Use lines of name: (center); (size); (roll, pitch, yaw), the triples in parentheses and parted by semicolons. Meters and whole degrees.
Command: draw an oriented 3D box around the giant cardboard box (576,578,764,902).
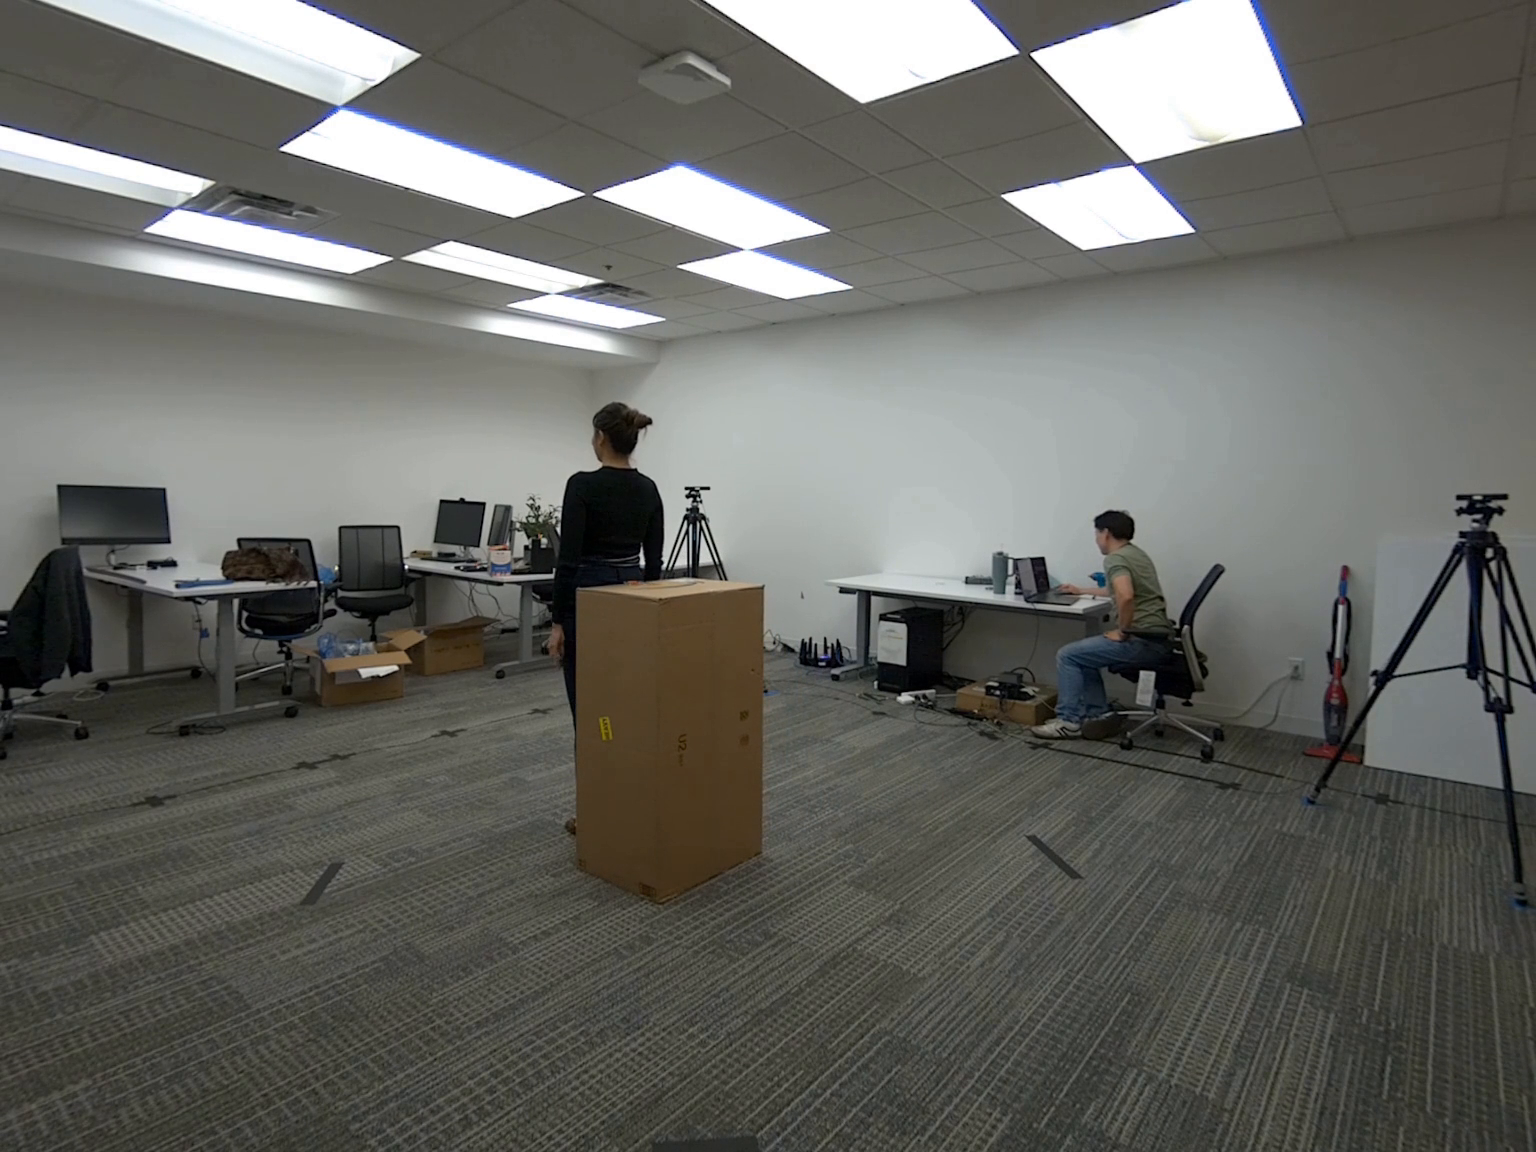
giant cardboard box: (-0.362, 0.549, 3.148); (0.440, 1.023, 0.560); (3, 4, 39)
